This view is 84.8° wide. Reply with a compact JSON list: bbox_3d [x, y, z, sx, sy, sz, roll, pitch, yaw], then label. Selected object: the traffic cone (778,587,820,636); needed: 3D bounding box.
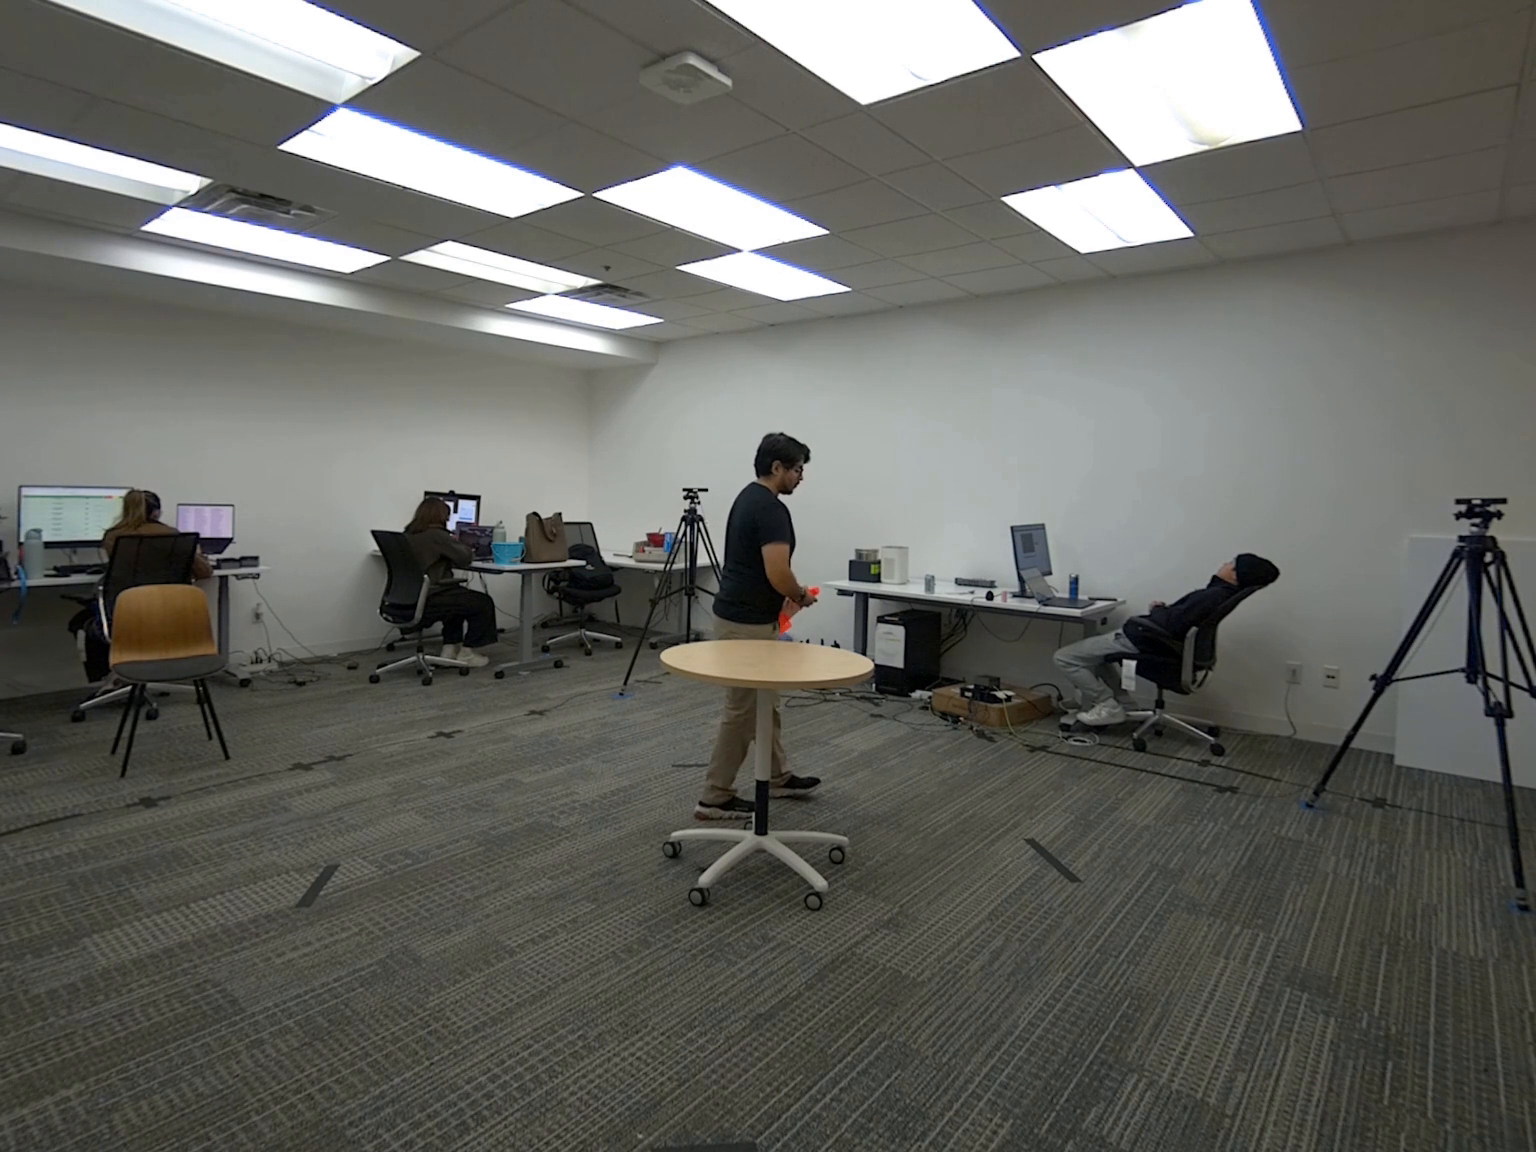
[{"bbox_3d":[0.119,0.127,3.847,0.200,0.206,0.387,-28,-2,-39],"label":"traffic cone"}]
